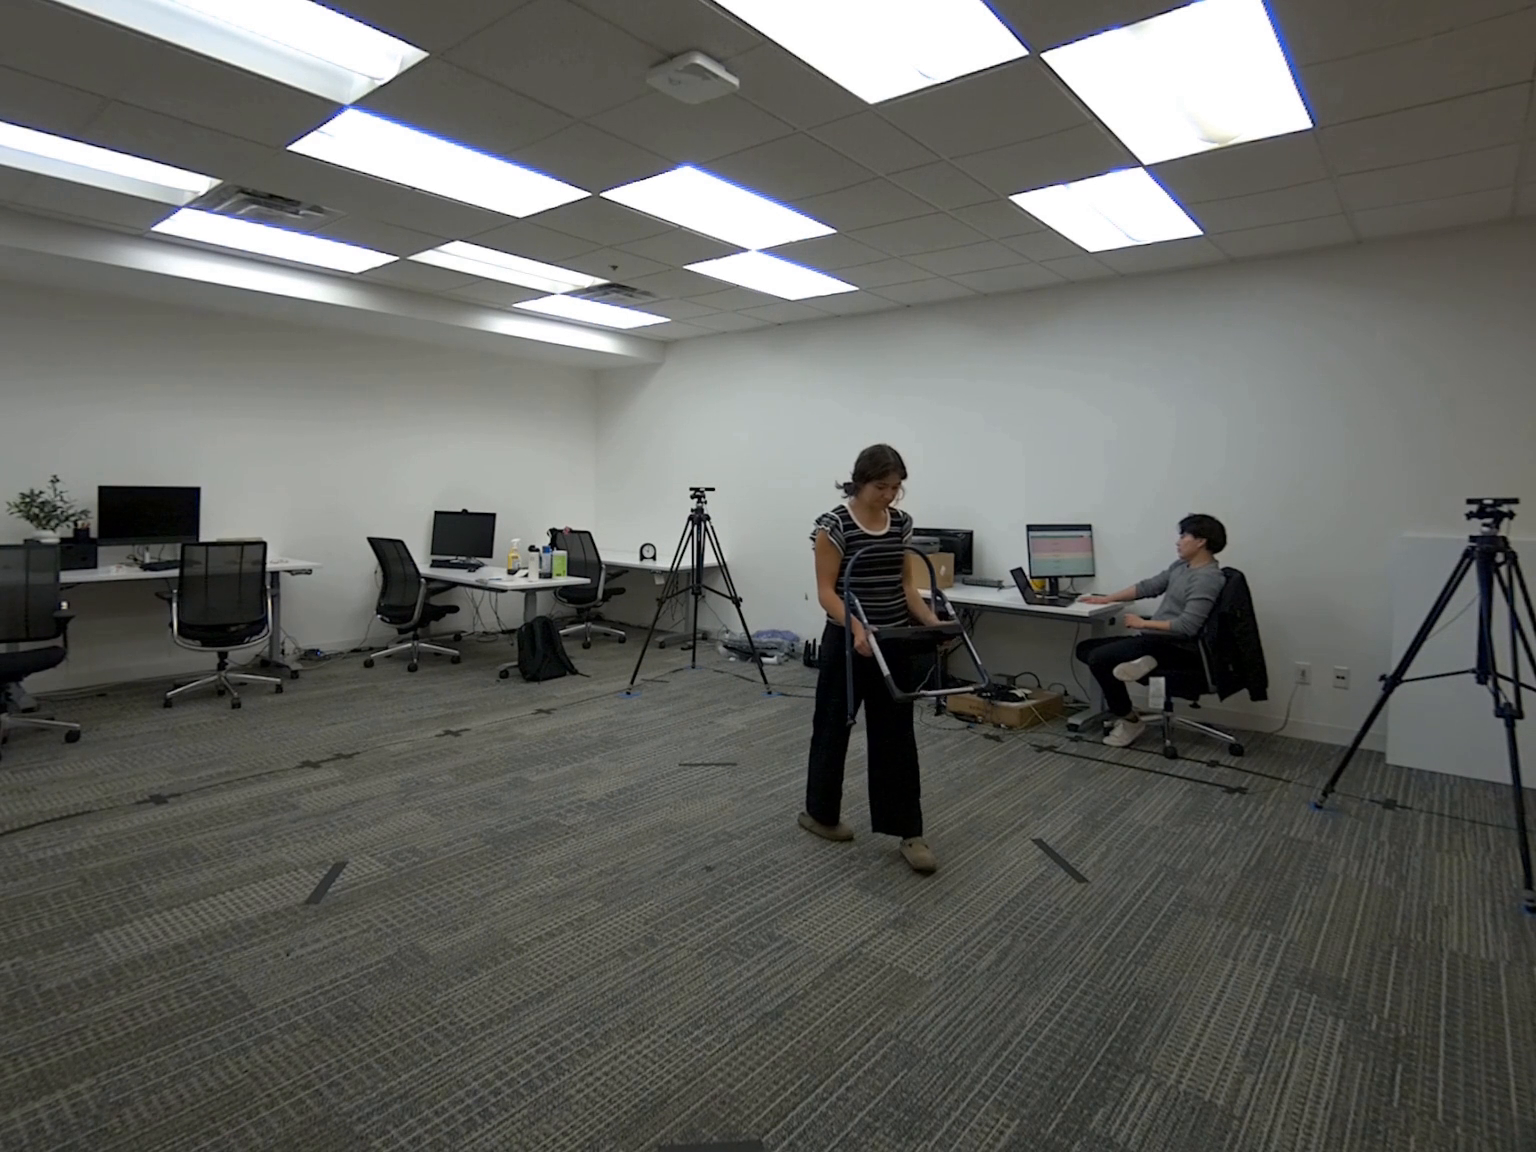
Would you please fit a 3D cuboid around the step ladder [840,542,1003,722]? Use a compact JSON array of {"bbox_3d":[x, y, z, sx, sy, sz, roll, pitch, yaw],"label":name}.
[{"bbox_3d":[0.474,0.185,3.145,0.420,0.621,0.349,-2,-24,-27],"label":"step ladder"}]
